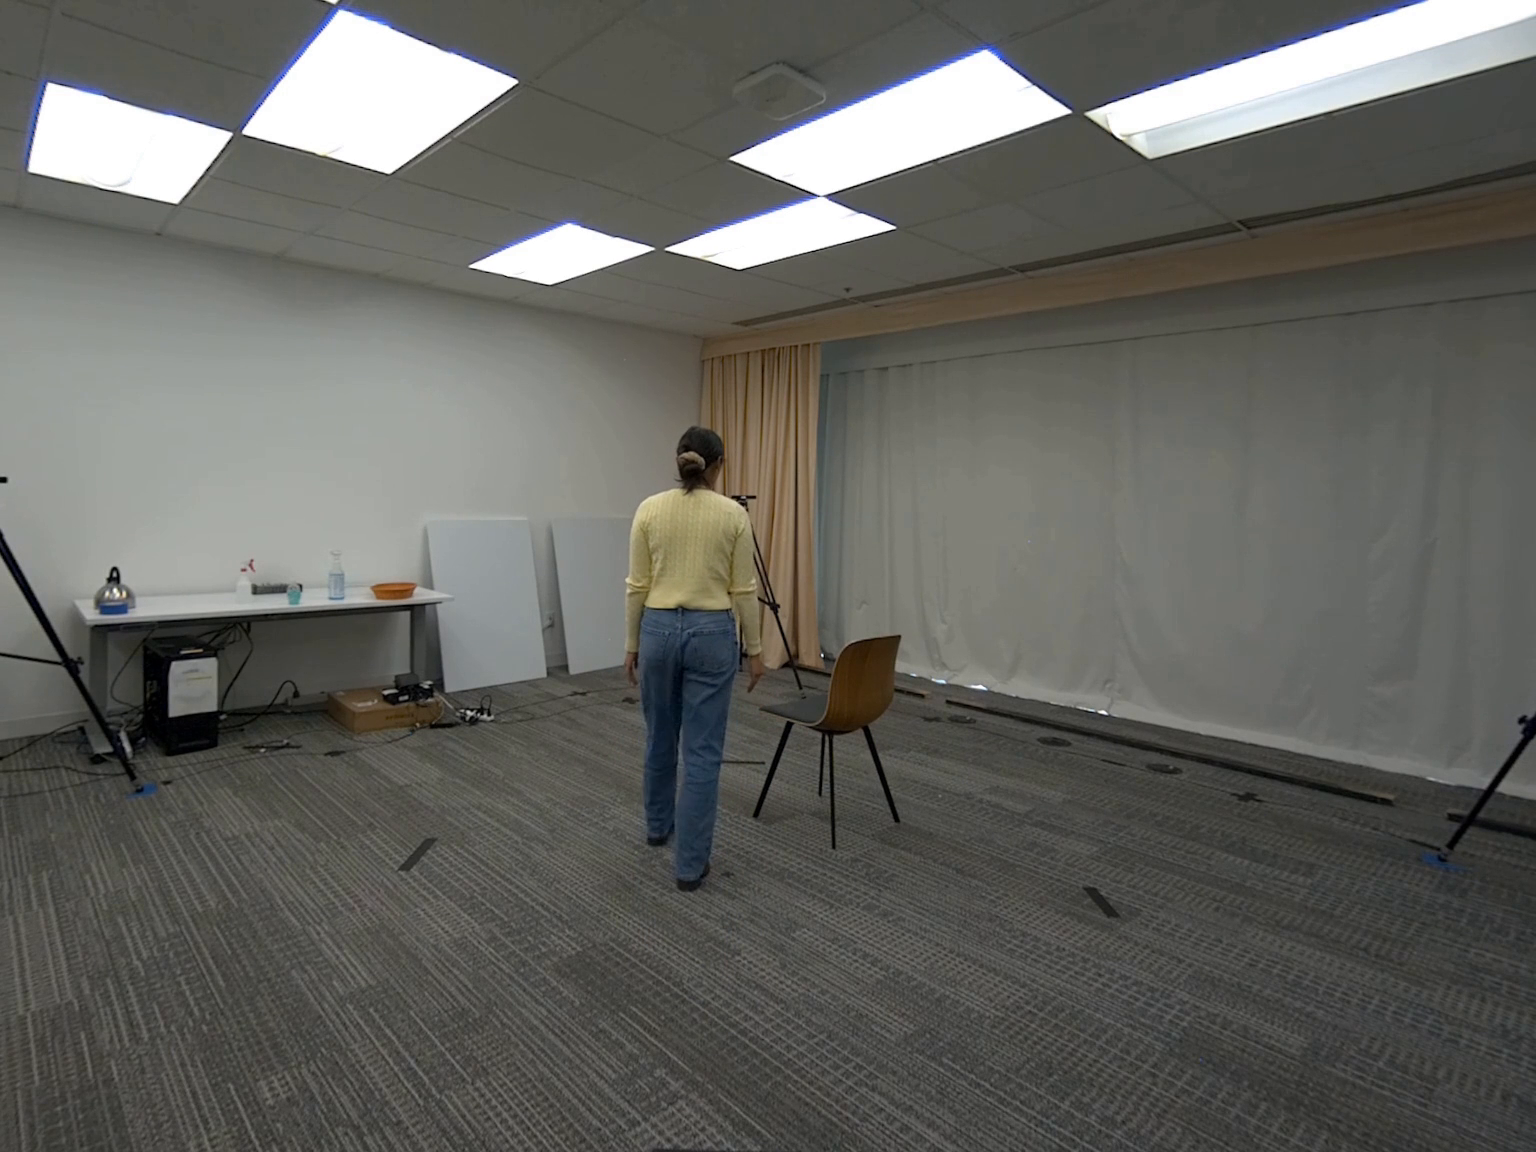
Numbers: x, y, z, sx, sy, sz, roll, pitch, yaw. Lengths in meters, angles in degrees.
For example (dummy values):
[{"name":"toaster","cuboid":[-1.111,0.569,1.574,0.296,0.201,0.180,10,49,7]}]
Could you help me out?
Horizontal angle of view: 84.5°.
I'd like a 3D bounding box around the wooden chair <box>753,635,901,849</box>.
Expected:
[{"name":"wooden chair","cuboid":[0.251,0.634,3.636,0.467,0.873,0.537,-2,9,-45]}]
